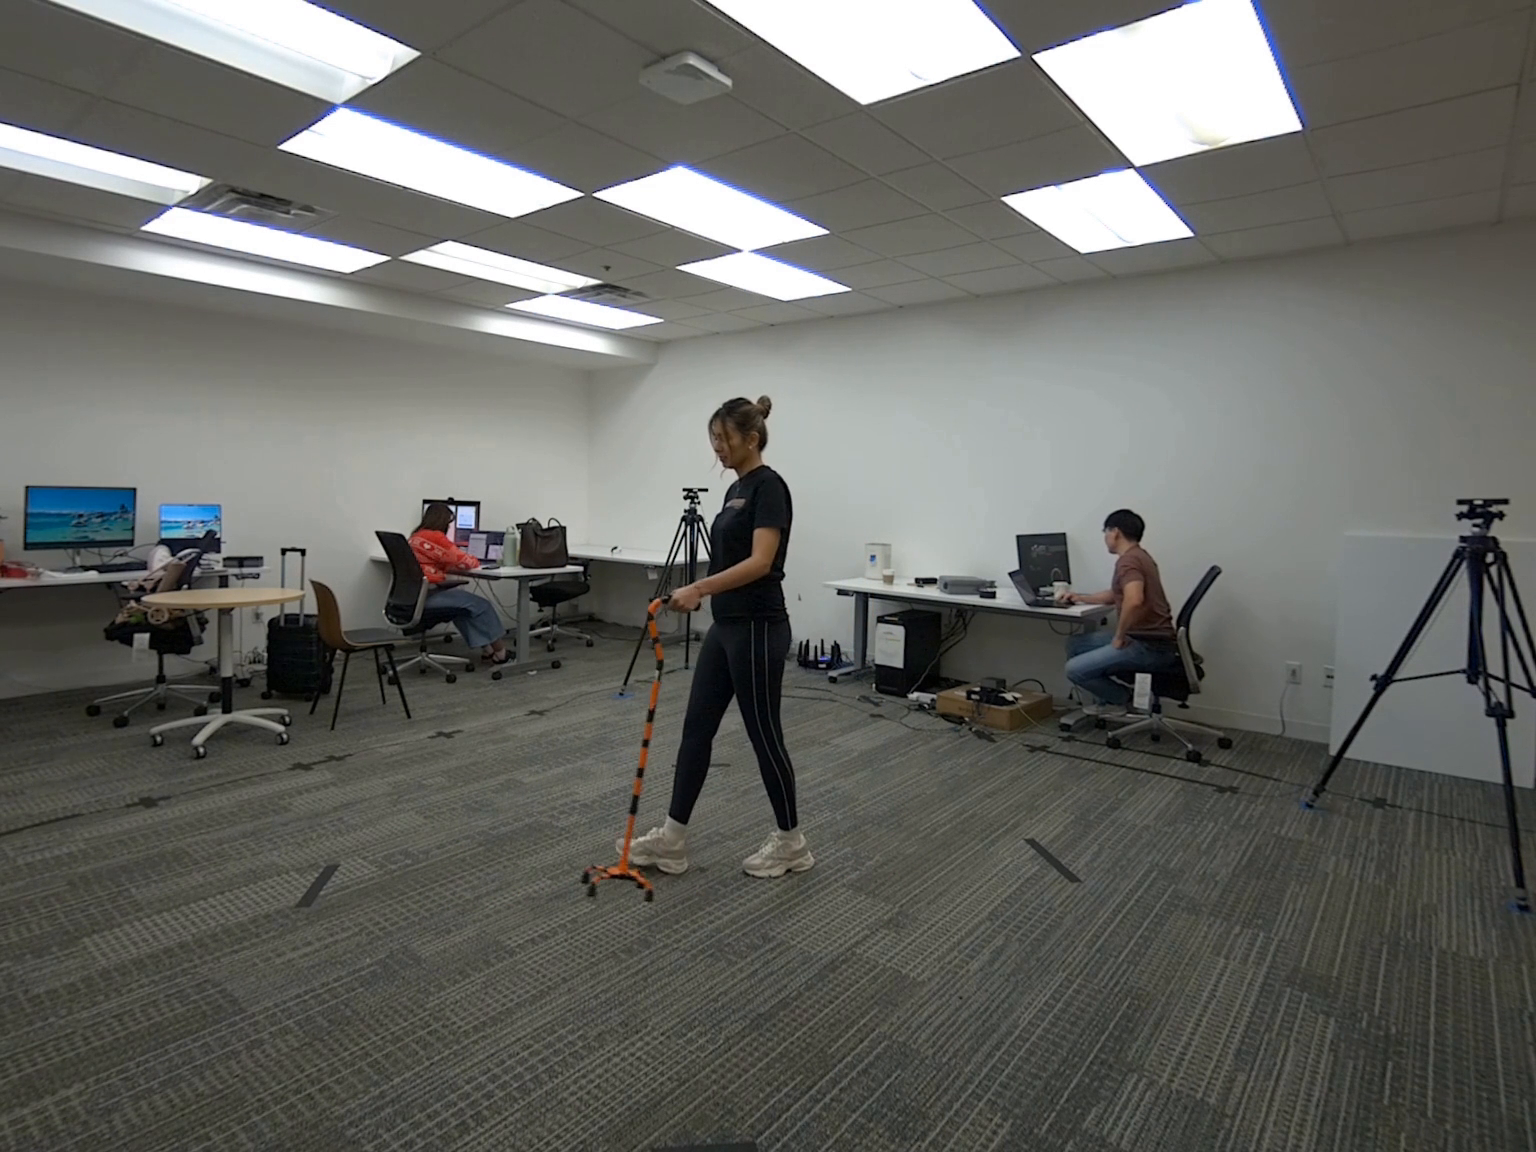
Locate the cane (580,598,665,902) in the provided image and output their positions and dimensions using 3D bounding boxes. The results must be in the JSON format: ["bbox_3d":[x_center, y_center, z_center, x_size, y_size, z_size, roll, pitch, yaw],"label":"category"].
[{"bbox_3d":[-0.391,0.516,2.639,0.202,0.913,0.154,12,-7,-17],"label":"cane"}]
